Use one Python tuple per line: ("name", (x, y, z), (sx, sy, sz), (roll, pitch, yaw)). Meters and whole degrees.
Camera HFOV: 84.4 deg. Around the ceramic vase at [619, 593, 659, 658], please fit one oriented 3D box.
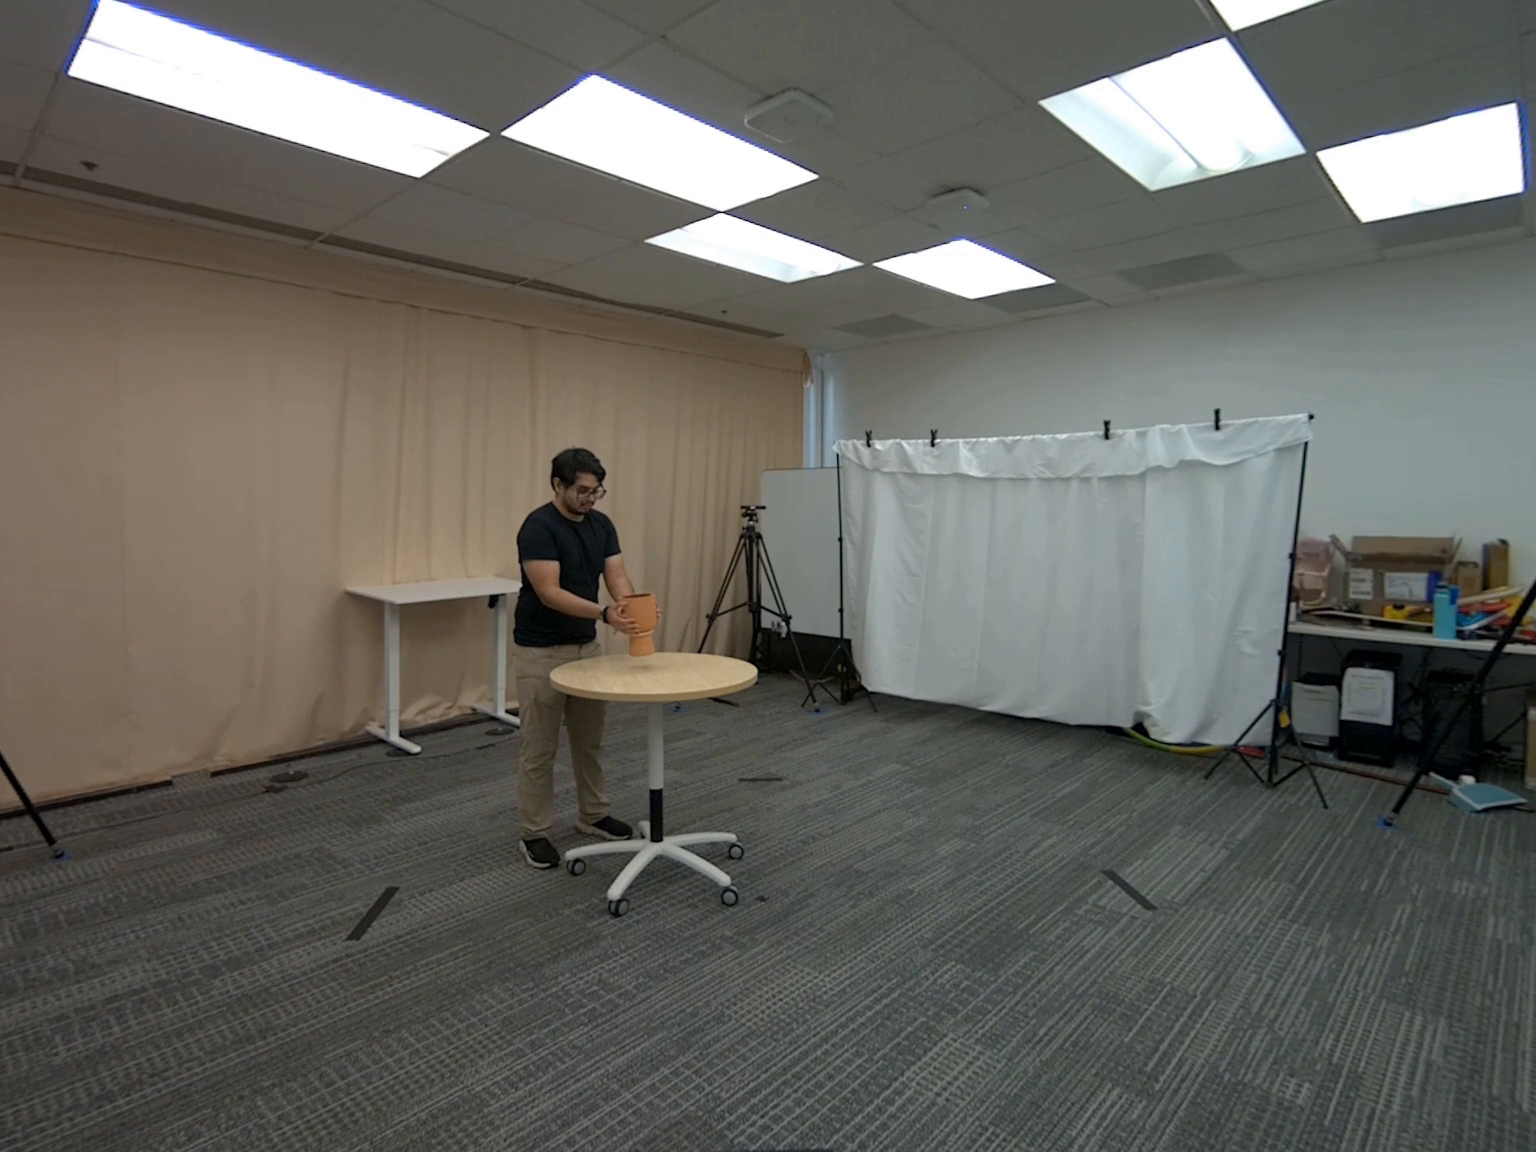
("ceramic vase", (-0.483, 0.187, 3.150), (0.156, 0.219, 0.137), (-8, 3, -17))
